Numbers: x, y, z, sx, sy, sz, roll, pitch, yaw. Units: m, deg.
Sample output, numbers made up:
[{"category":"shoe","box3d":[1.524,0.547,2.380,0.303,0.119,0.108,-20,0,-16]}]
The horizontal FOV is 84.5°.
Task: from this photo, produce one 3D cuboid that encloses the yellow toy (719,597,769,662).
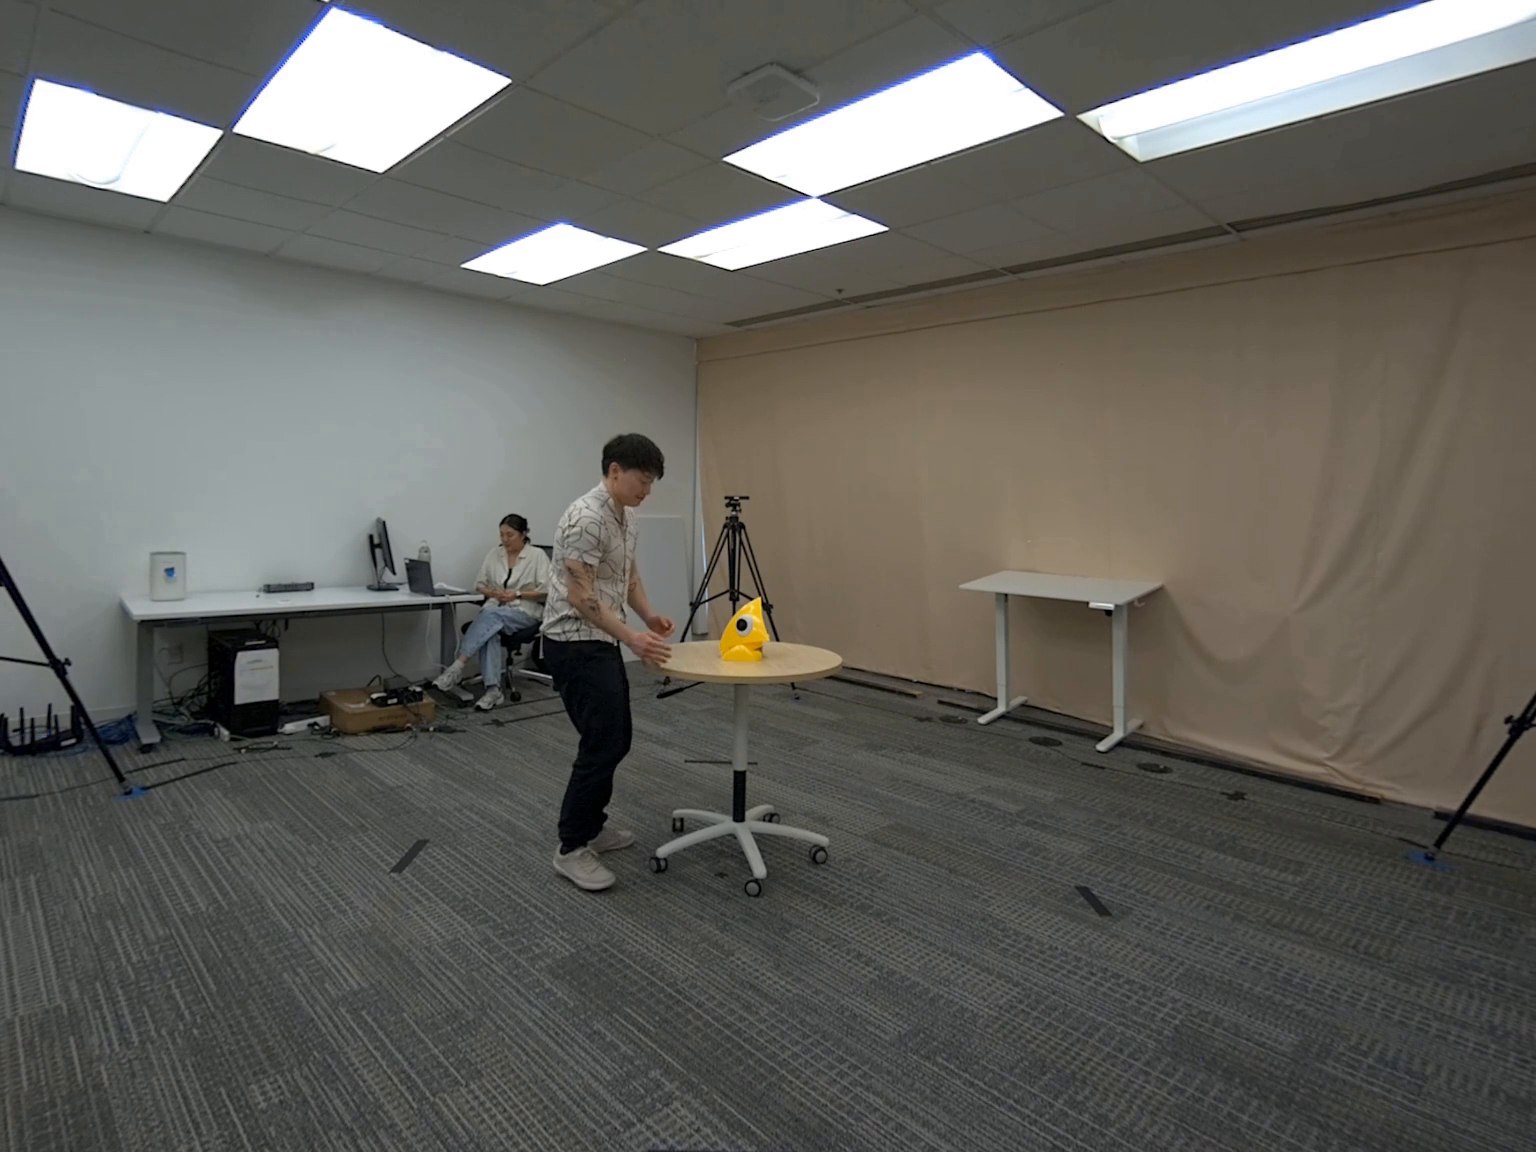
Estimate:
[{"category":"yellow toy","box3d":[-0.102,0.195,3.224,0.193,0.230,0.206,2,4,-2]}]
